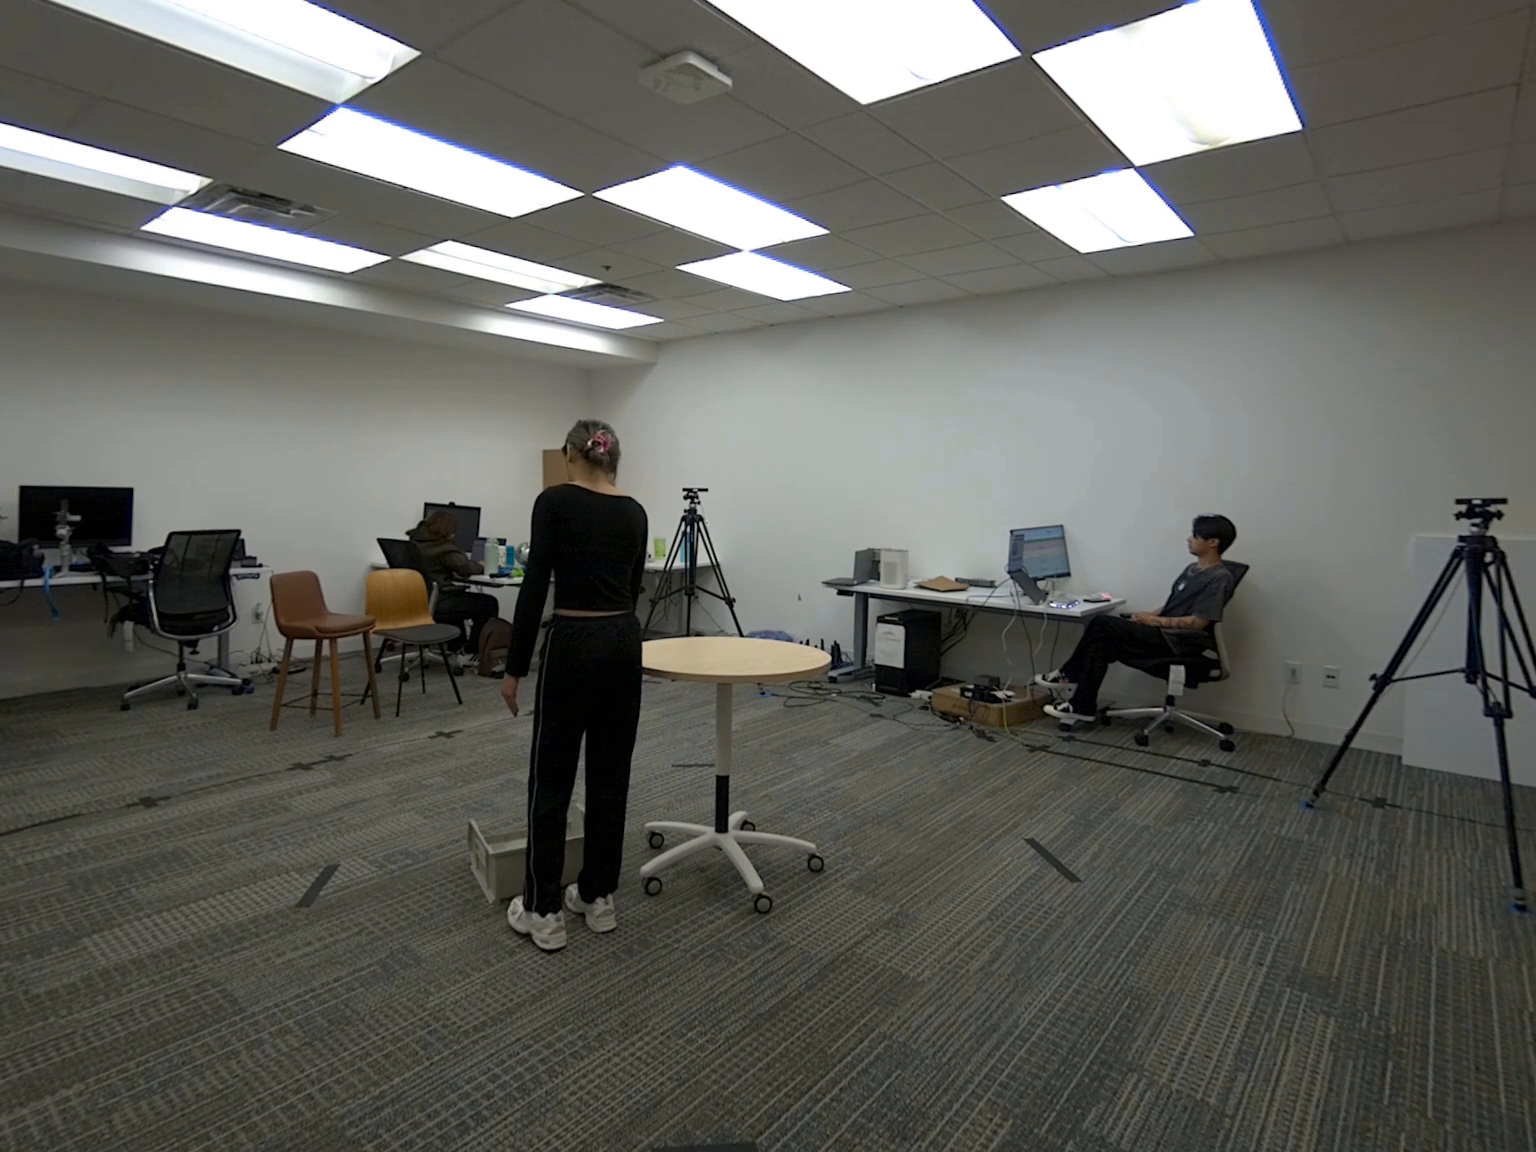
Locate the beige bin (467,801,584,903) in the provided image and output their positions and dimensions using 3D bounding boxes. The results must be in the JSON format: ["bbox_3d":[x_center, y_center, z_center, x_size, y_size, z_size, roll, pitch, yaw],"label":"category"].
[{"bbox_3d":[-0.844,0.974,3.059,0.411,0.188,0.389,-2,6,-30],"label":"beige bin"}]
